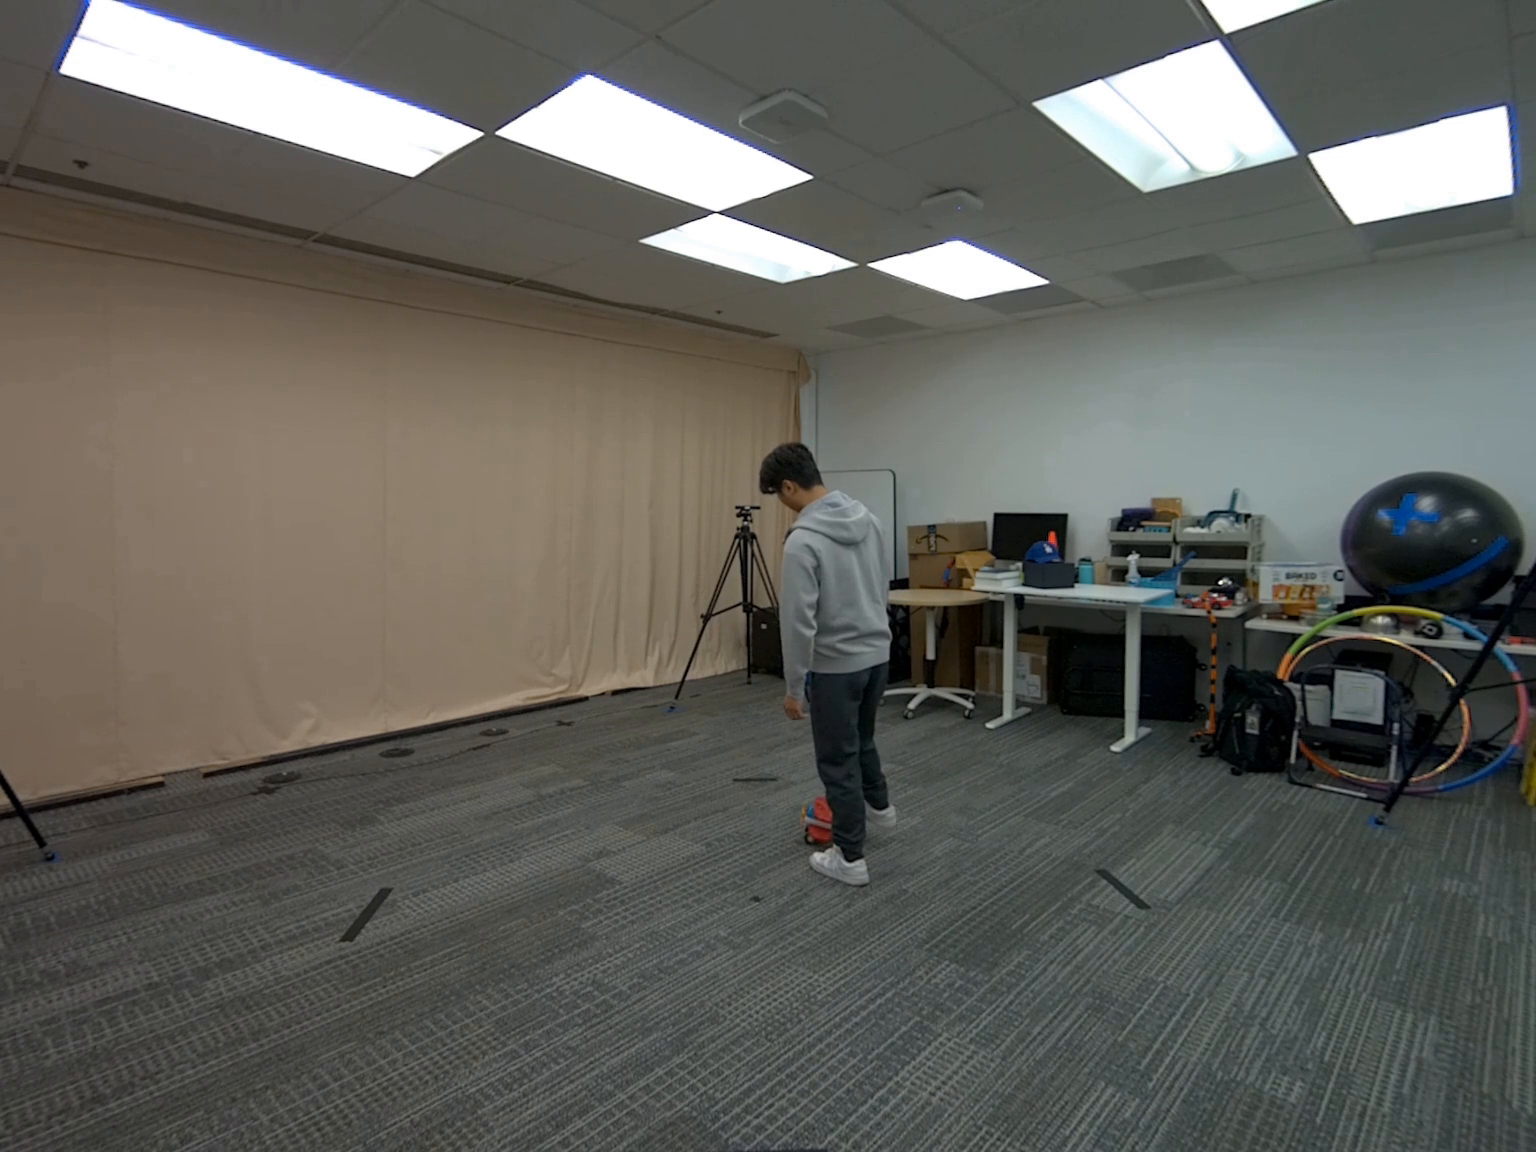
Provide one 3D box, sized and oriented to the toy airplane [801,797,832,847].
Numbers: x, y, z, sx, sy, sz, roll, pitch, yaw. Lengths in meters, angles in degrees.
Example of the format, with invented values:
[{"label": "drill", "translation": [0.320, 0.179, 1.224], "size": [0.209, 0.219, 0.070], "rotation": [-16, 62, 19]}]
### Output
[{"label": "toy airplane", "translation": [0.266, 1.028, 3.507], "size": [0.254, 0.156, 0.257], "rotation": [-3, 5, -22]}]
